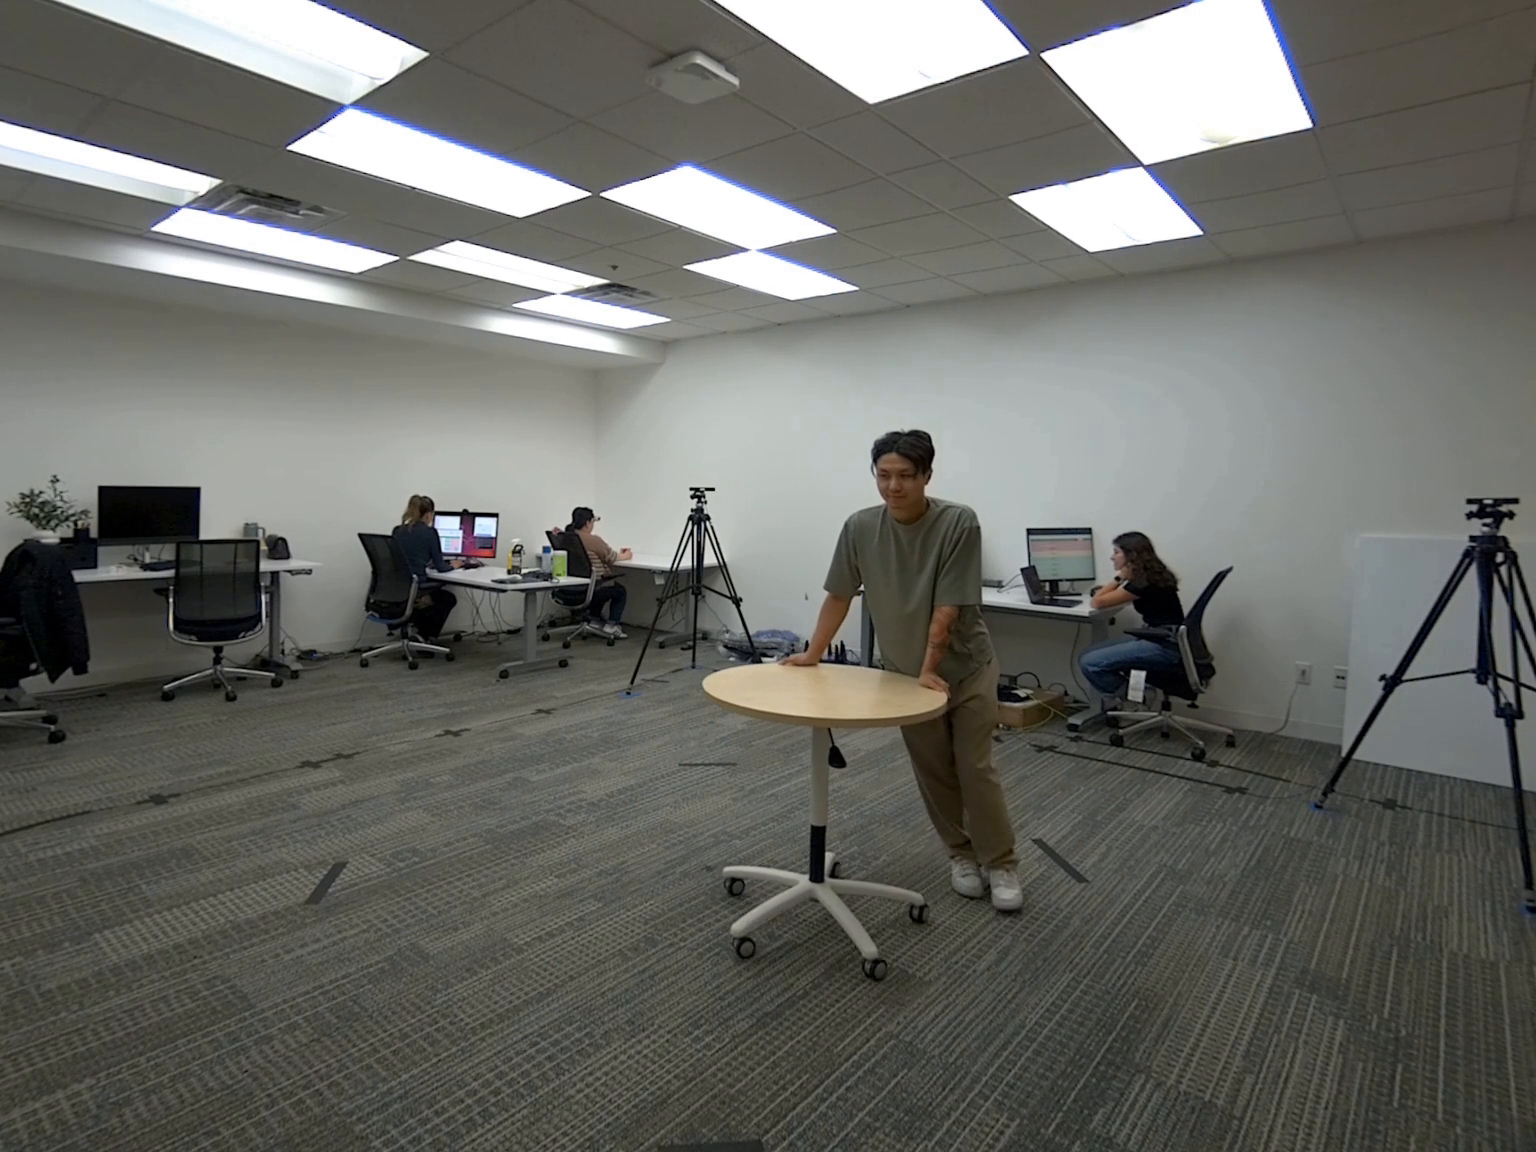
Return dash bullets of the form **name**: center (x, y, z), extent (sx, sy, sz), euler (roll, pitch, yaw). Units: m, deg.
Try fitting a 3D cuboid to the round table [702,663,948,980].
- **round table**: center (0.146, 0.726, 2.733), extent (0.784, 0.784, 0.789), euler (2, 4, -2)
